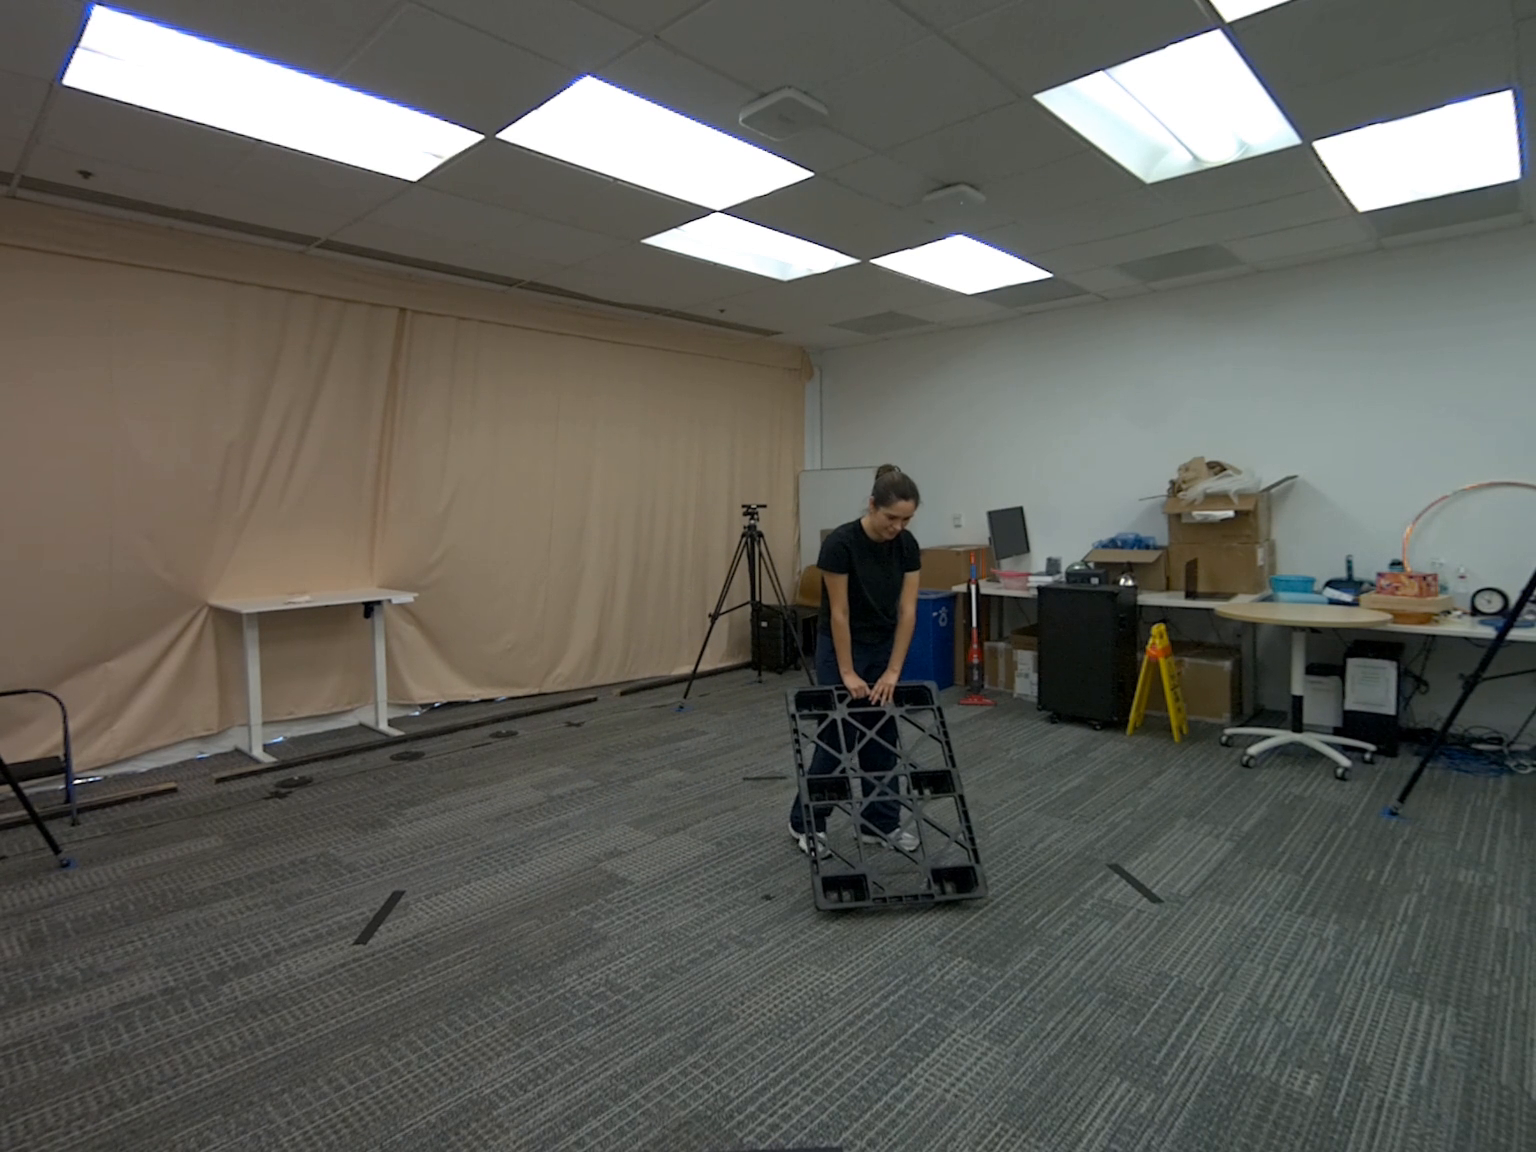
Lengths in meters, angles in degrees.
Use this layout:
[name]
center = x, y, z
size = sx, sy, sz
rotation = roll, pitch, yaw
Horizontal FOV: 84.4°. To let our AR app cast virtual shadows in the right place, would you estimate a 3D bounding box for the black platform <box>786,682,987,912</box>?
[black platform]
center = 0.414, 0.789, 3.089
size = 0.601, 0.822, 0.141
rotation = -3, -32, -7
